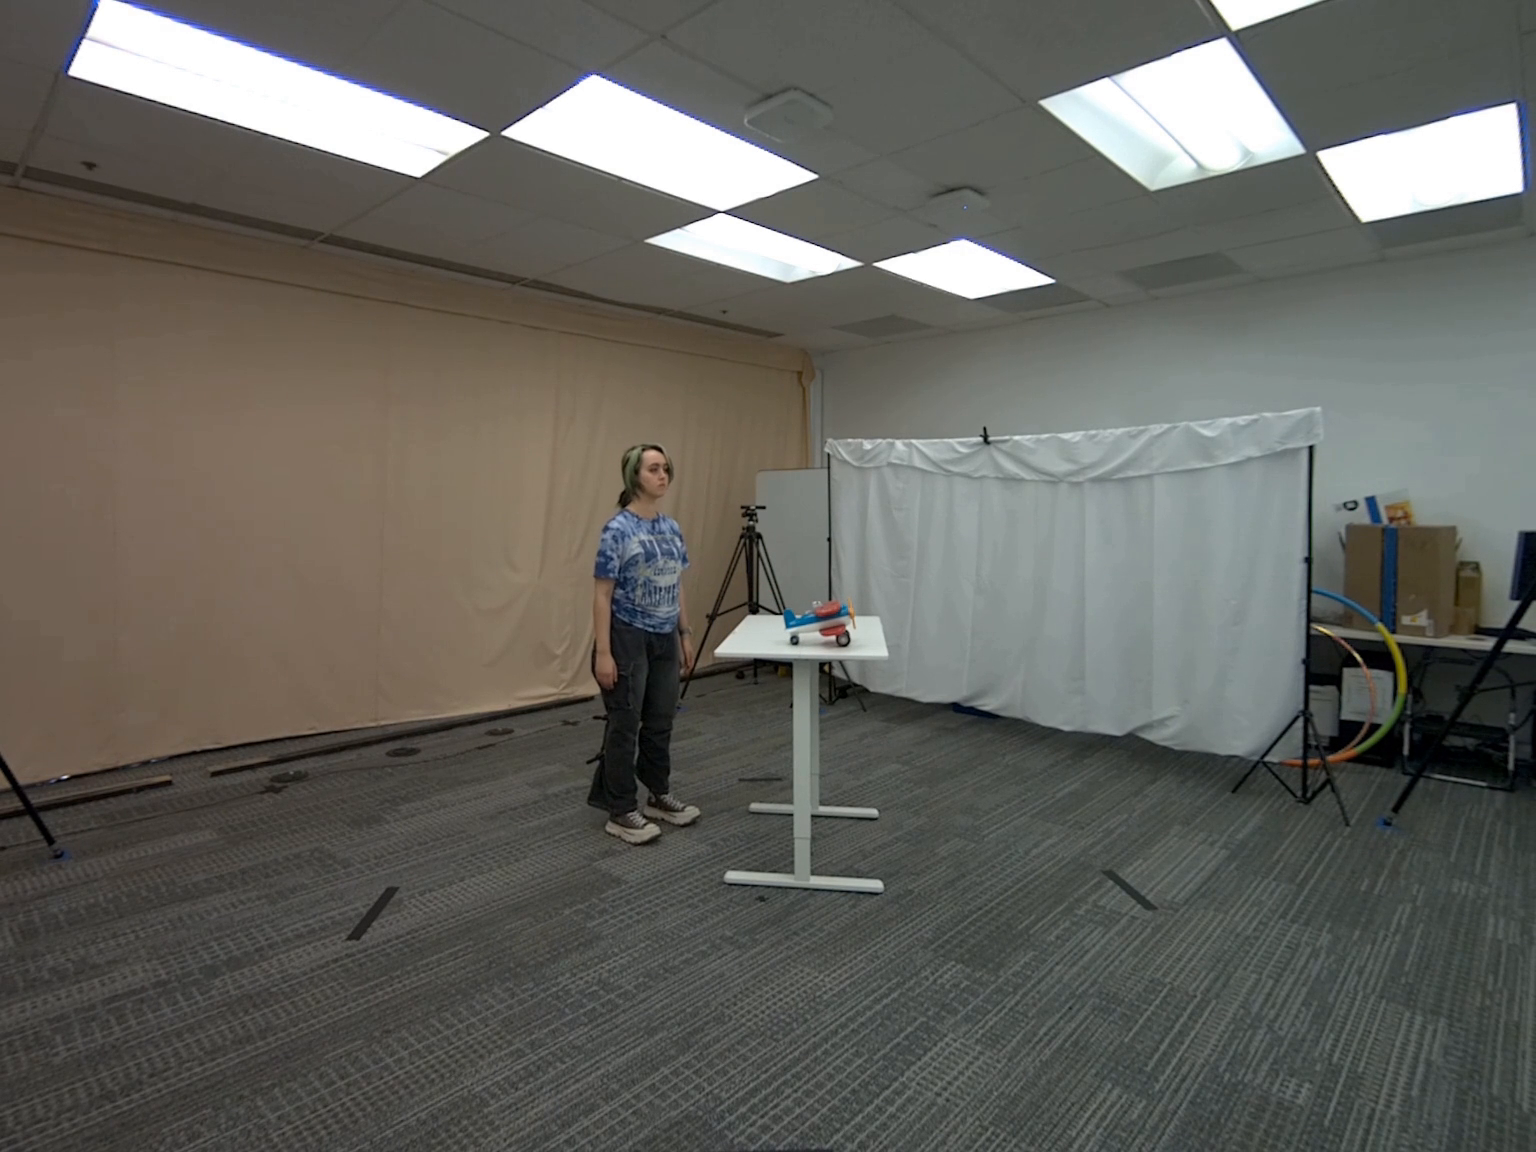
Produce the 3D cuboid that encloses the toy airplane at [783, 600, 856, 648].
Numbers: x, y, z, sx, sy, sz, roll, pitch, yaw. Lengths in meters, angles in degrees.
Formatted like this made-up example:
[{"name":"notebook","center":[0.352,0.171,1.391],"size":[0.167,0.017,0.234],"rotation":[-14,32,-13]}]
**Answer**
[{"name":"toy airplane","center":[0.193,0.177,3.077],"size":[0.253,0.156,0.257],"rotation":[-1,4,-24]}]
